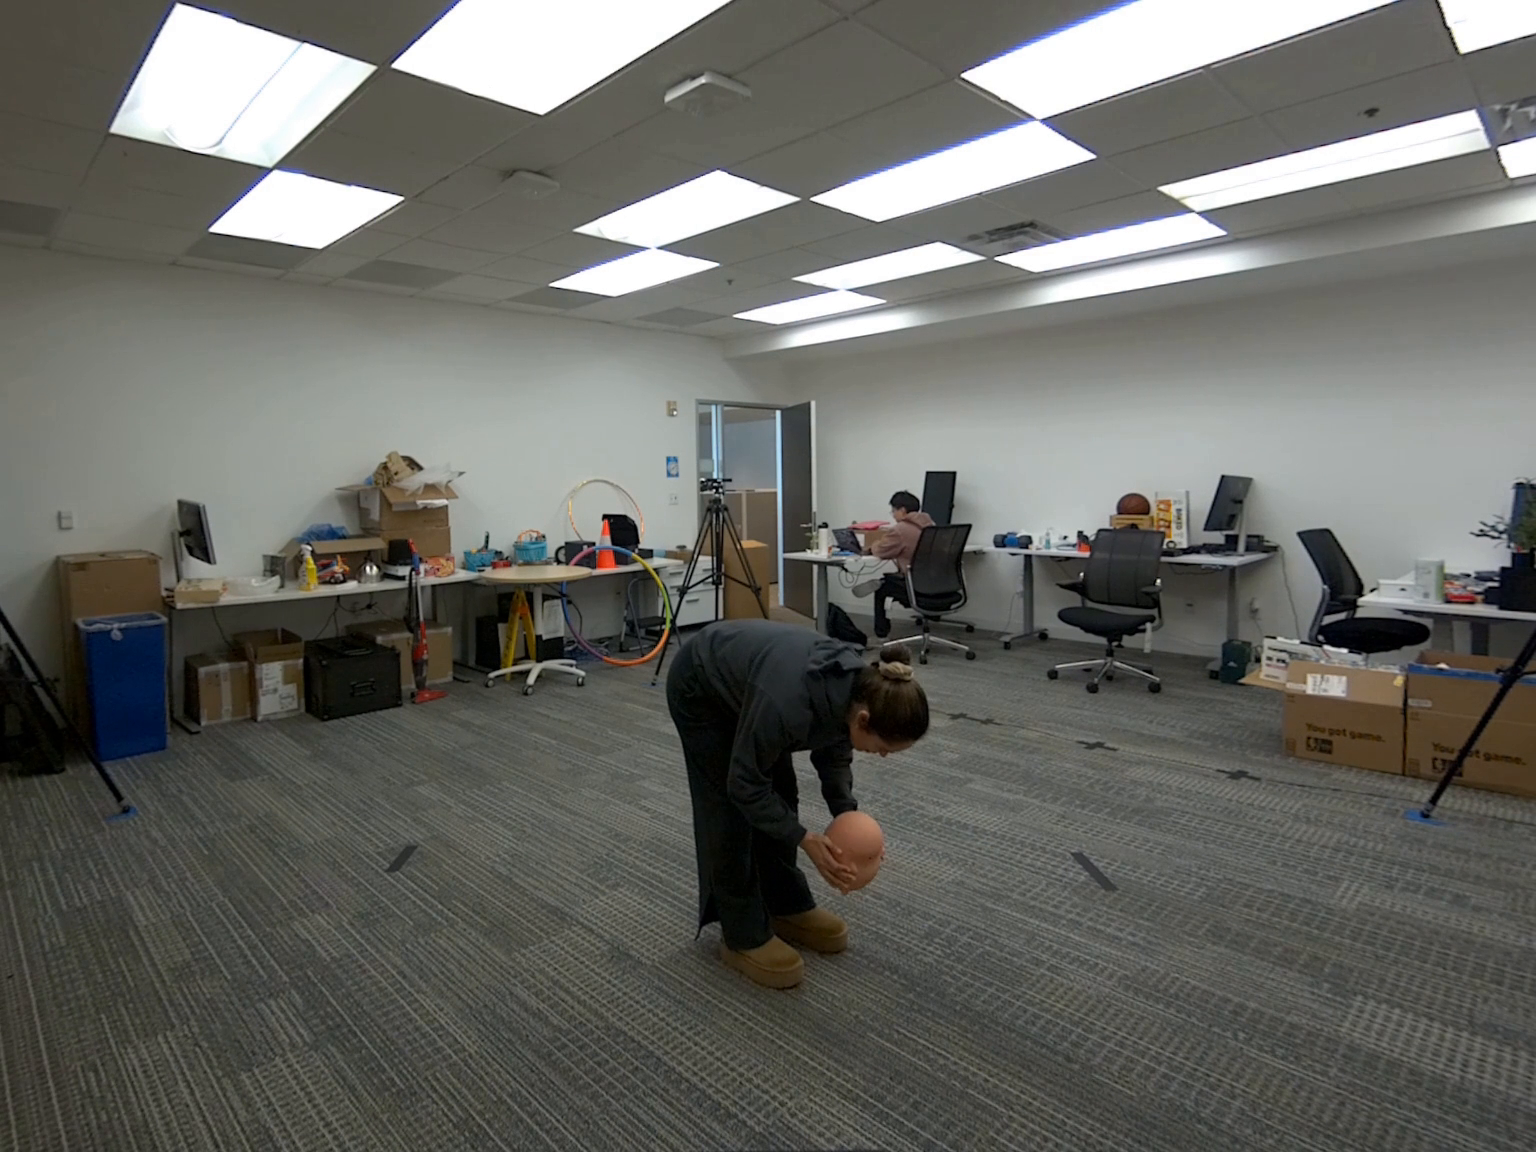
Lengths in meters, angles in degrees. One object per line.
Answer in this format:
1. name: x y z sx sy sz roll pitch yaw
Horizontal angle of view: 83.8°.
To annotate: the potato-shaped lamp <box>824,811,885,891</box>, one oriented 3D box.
1. potato-shaped lamp: 0.221 0.728 2.275 0.161 0.195 0.177 -13 46 -42
